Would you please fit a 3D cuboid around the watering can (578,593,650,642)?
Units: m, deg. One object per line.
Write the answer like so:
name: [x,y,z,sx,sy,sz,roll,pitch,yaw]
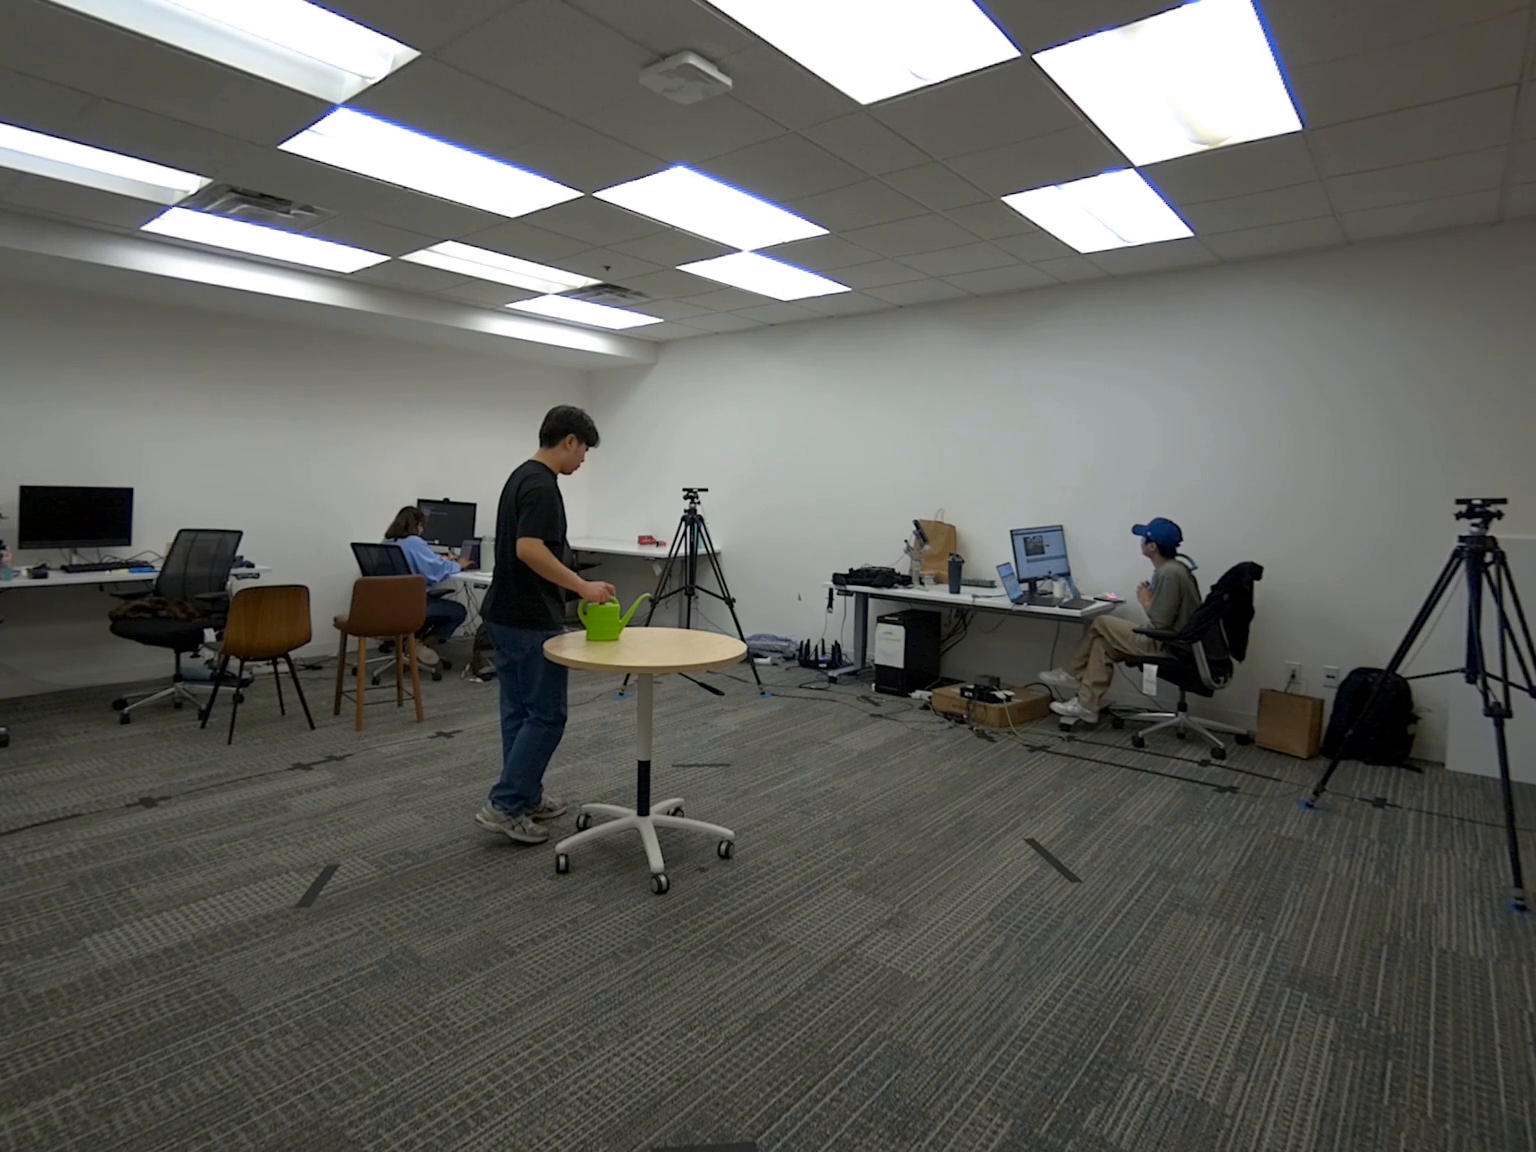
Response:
watering can: [-0.615,0.162,3.304,0.278,0.176,0.098,1,5,1]
